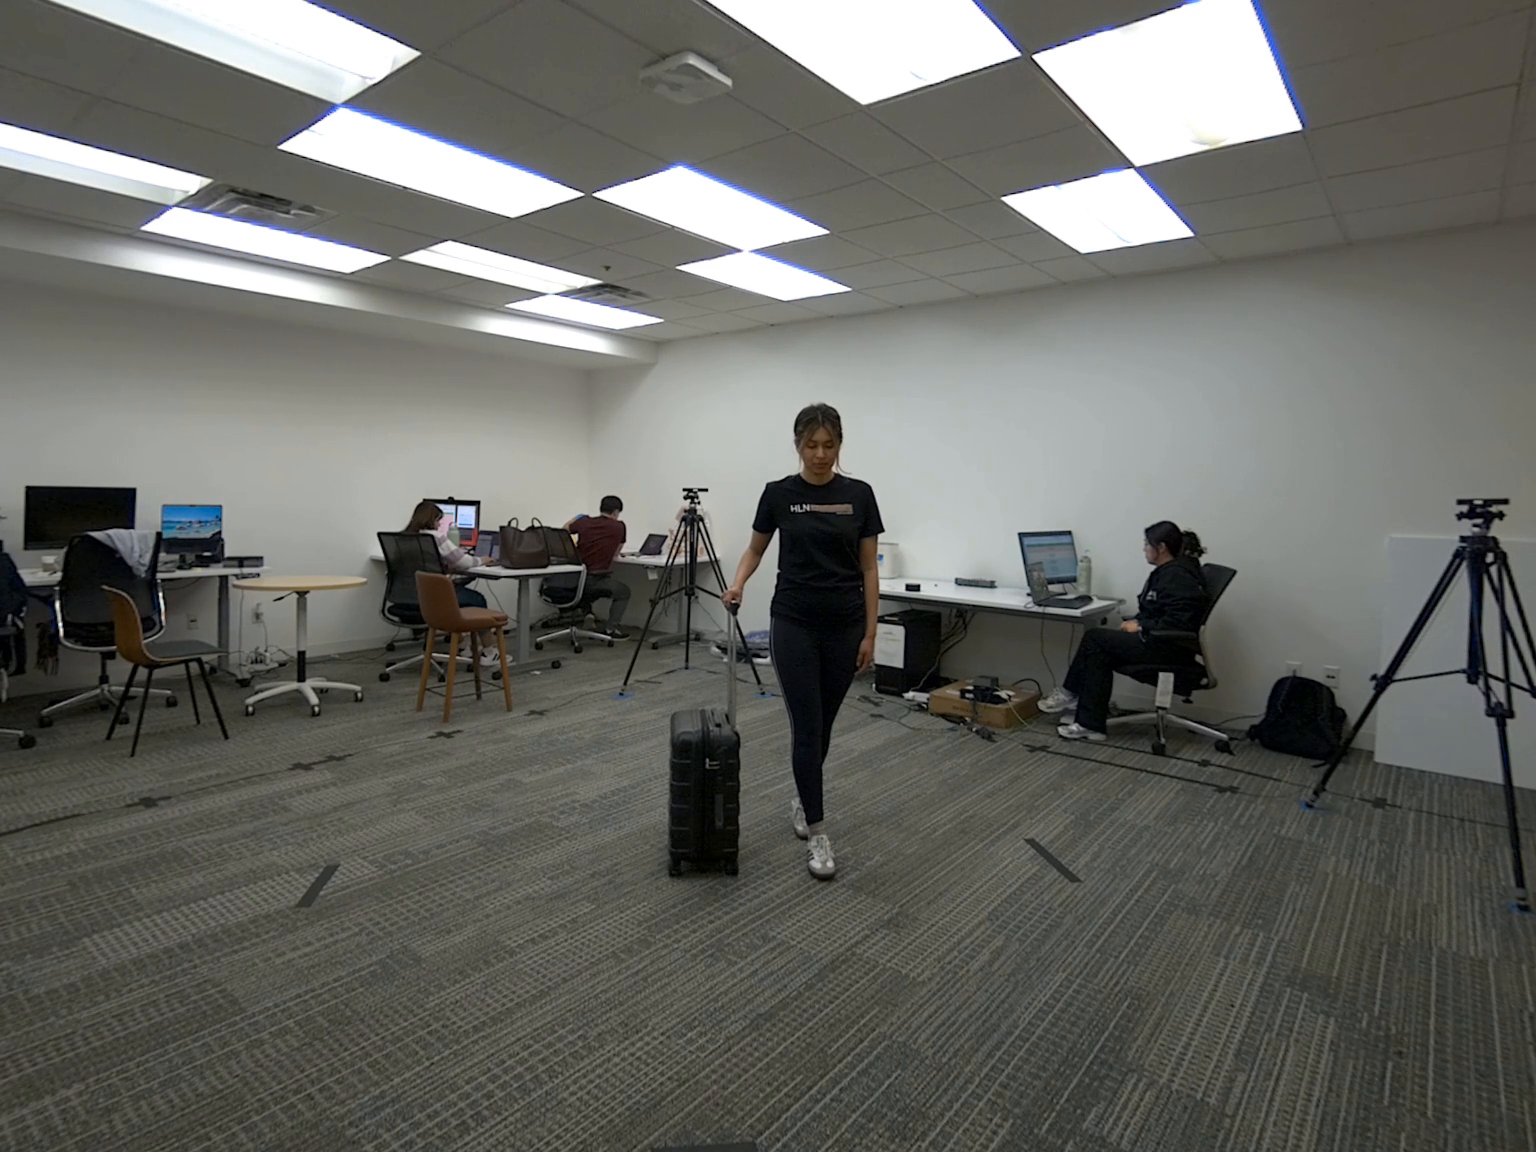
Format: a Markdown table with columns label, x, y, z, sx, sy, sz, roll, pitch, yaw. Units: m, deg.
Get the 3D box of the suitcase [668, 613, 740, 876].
| label | x | y | z | sx | sy | sz | roll | pitch | yaw |
| --- | --- | --- | --- | --- | --- | --- | --- | --- | --- |
| suitcase | -0.253 | 0.585 | 3.165 | 0.255 | 0.974 | 0.388 | -2 | 5 | -8 |
